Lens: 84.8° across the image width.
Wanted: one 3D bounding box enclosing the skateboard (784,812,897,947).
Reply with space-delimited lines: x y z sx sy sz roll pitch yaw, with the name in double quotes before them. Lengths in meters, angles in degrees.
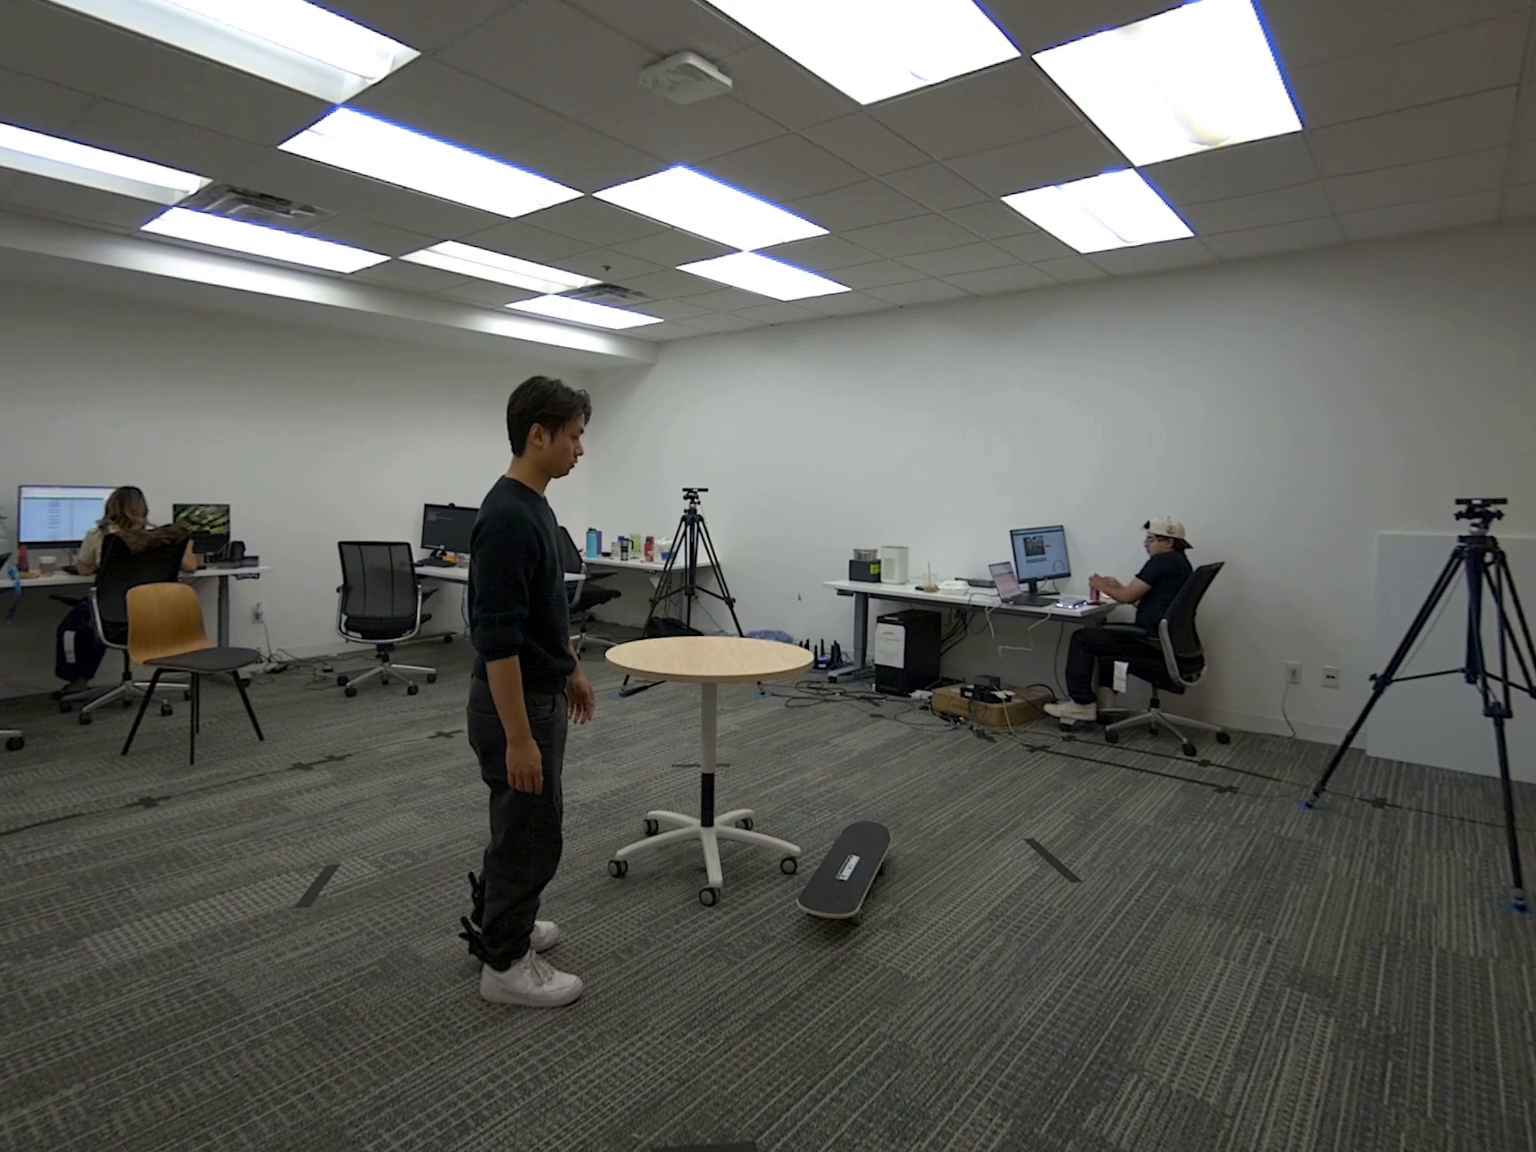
"skateboard" 0.275 1.032 2.951 0.198 0.110 0.771 3 6 20
